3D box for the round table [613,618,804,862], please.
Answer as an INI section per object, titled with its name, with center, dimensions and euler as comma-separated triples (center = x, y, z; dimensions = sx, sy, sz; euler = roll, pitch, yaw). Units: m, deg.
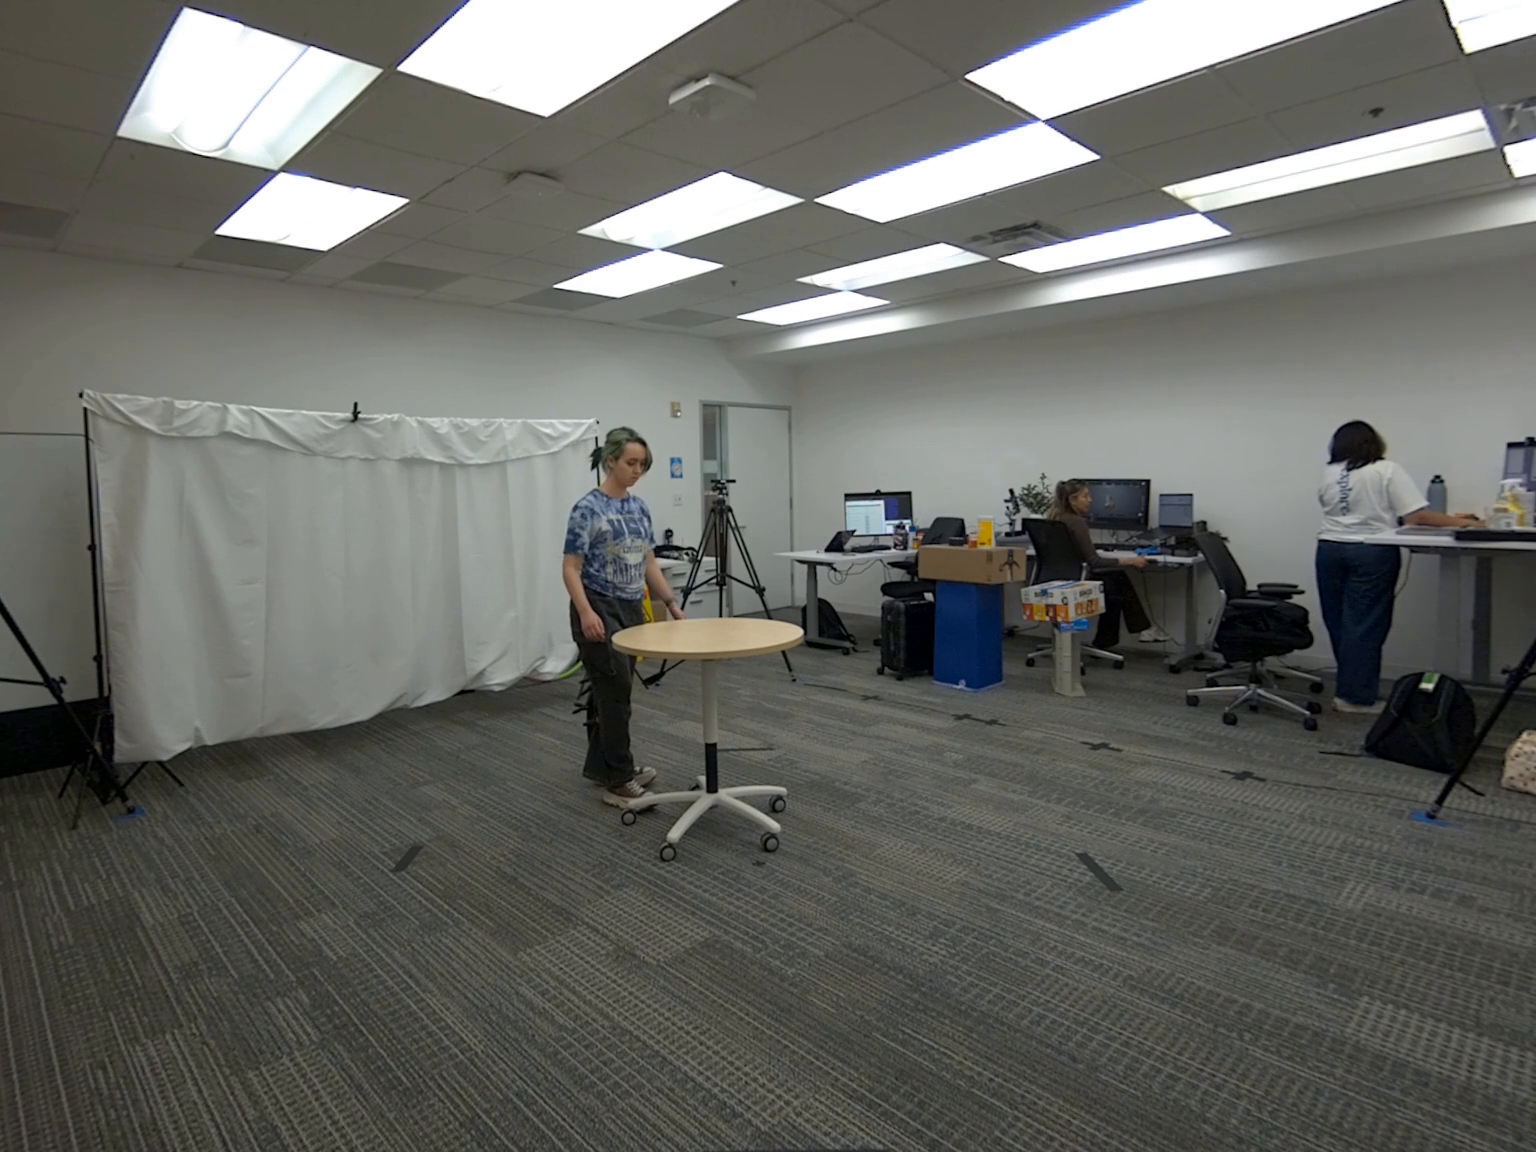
[round table]
center = -0.226, 0.625, 3.429
dimensions = 0.763, 0.791, 0.768
euler = -2, 4, -2
